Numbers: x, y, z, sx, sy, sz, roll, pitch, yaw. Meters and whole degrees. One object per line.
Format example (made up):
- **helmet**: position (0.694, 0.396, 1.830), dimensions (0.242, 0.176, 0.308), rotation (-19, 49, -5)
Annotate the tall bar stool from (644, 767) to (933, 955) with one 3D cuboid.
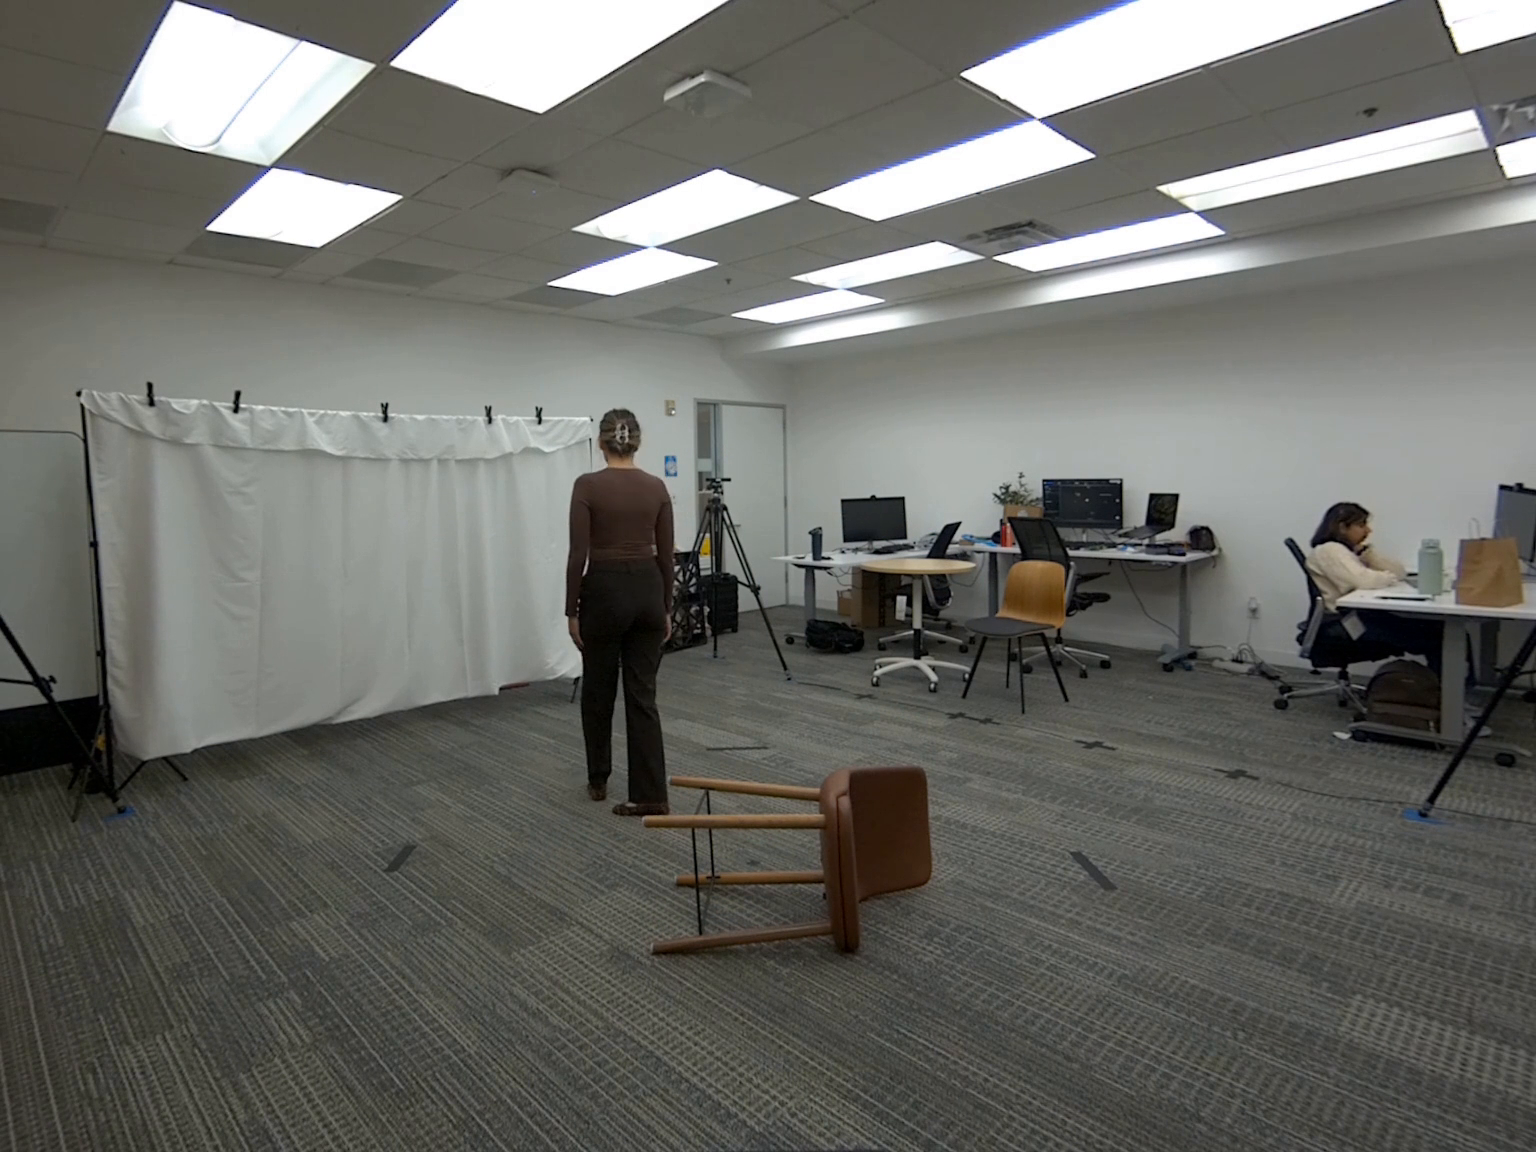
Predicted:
- **tall bar stool**: position (0.097, 0.874, 2.692), dimensions (0.893, 0.455, 0.467), rotation (-3, 3, 4)
